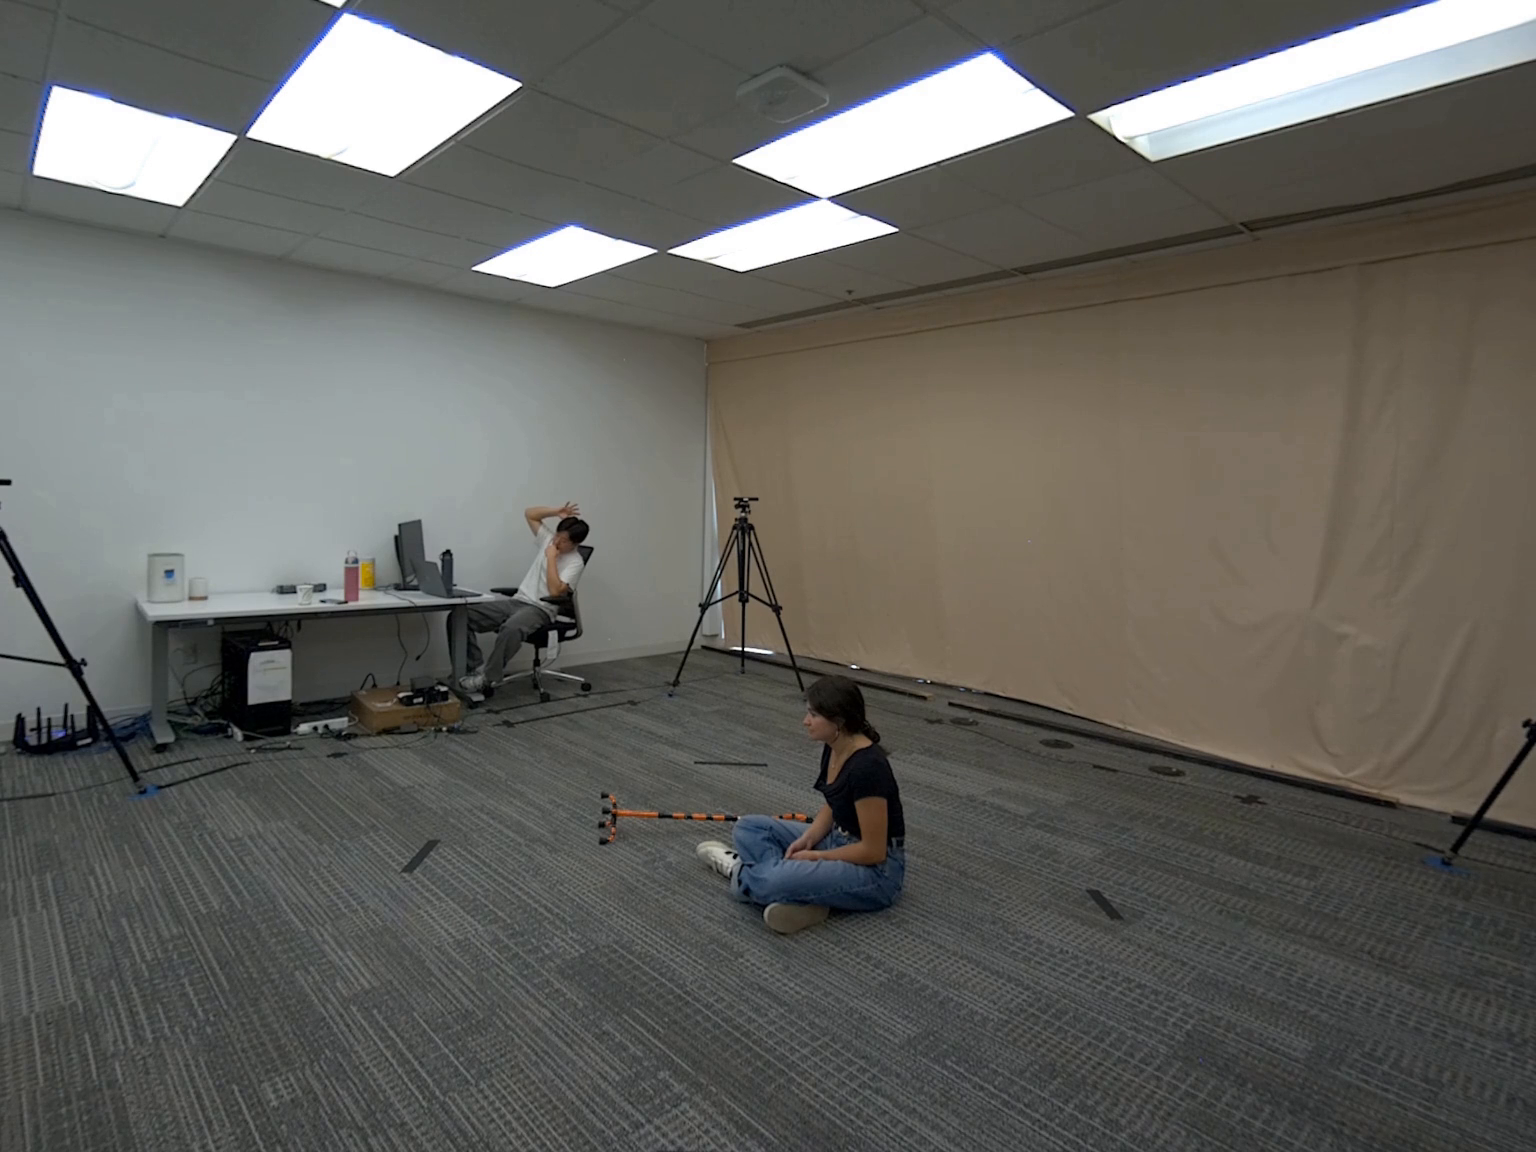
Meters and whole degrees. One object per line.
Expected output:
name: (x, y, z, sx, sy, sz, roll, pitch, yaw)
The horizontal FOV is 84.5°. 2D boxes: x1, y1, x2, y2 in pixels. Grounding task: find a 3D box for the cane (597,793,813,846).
cane: (-0.256, 1.025, 3.521, 0.900, 0.151, 0.208, 5, 3, -10)
